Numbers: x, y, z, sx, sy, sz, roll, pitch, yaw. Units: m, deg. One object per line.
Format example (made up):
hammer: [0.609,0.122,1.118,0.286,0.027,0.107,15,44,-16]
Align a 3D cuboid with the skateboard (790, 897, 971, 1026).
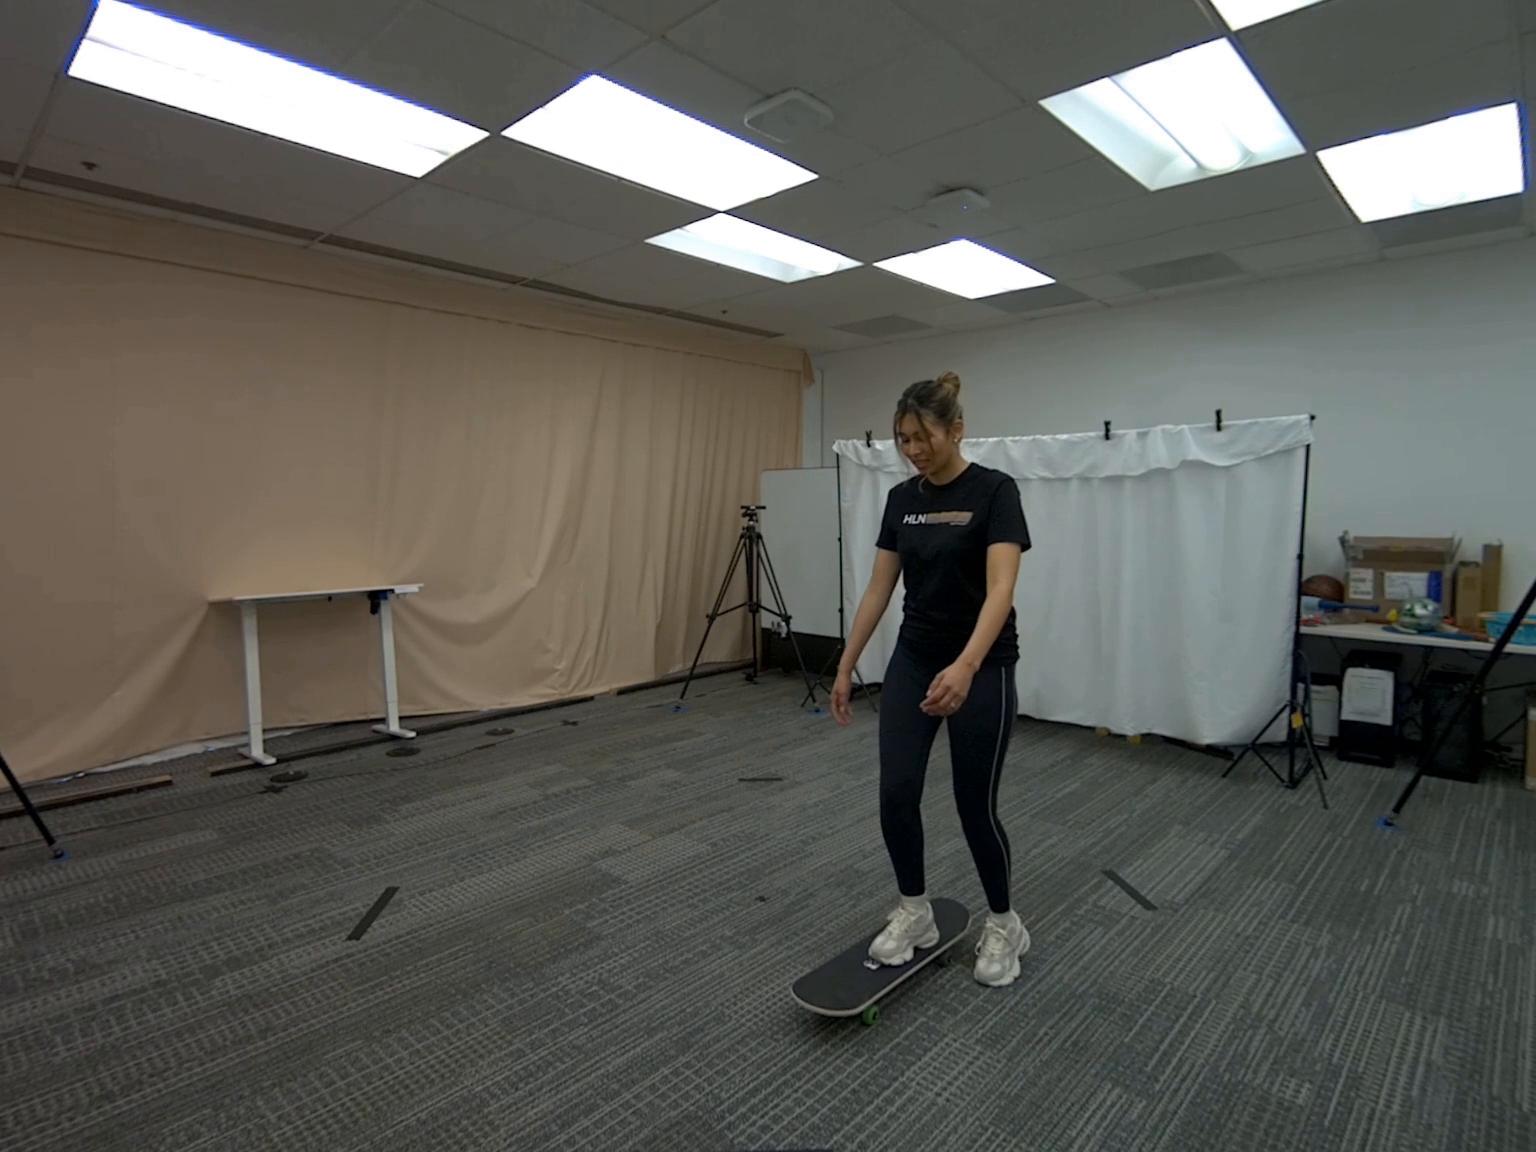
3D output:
skateboard: [0.365,1.137,2.453,0.200,0.110,0.761,6,8,43]
